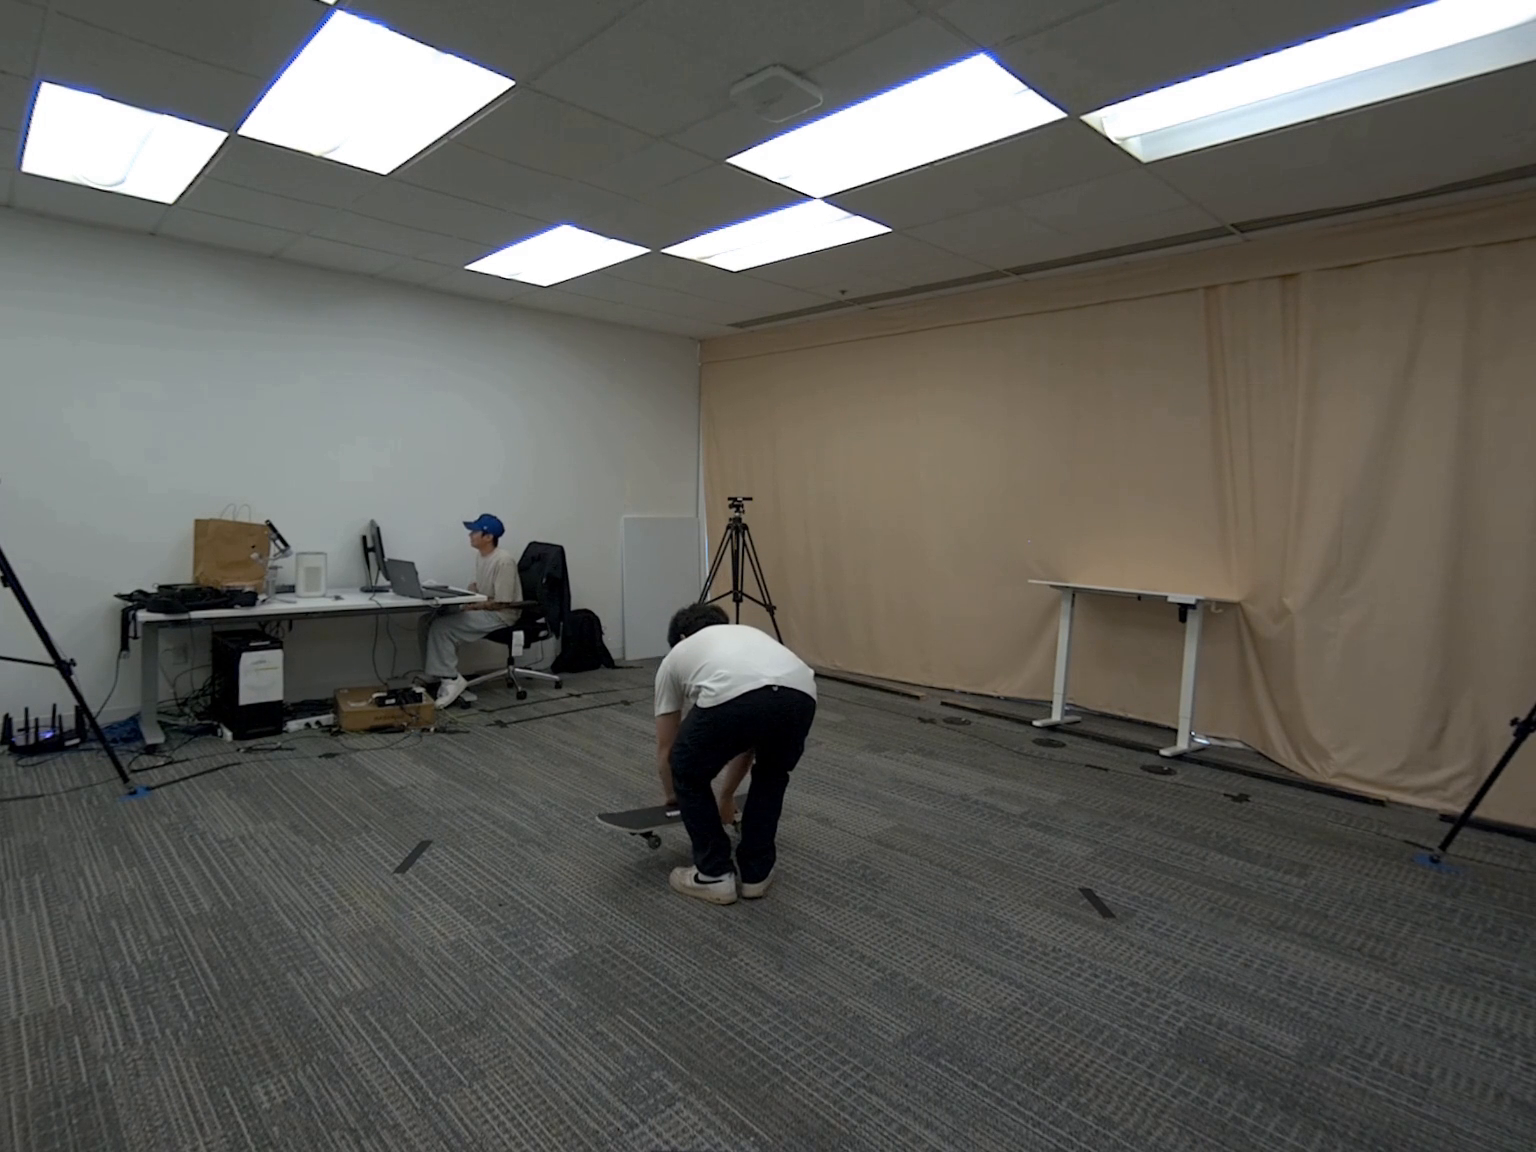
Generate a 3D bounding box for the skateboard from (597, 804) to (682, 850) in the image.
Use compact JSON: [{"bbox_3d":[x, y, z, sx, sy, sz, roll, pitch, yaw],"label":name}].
[{"bbox_3d":[-0.321,0.947,3.271,0.766,0.110,0.198,3,3,-38],"label":"skateboard"}]
